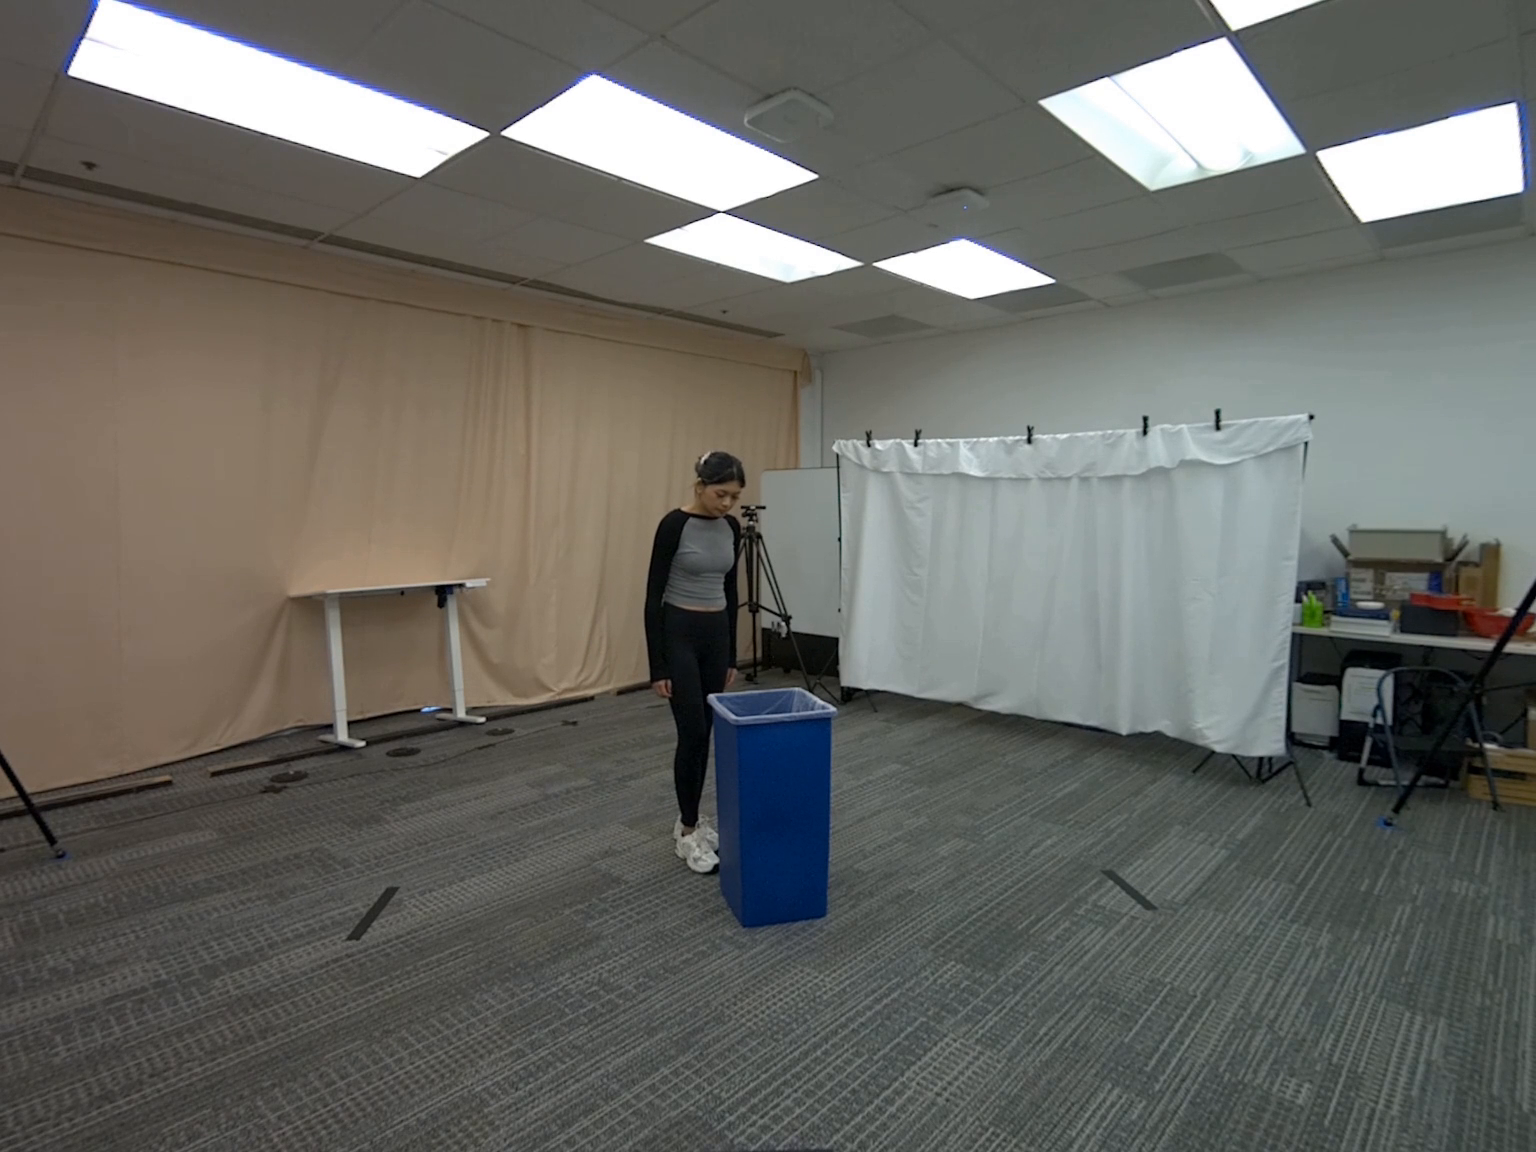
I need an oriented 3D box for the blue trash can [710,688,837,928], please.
[{"bbox_3d":[0.009,0.789,2.942,0.371,0.712,0.381,-2,3,-18],"label":"blue trash can"}]
